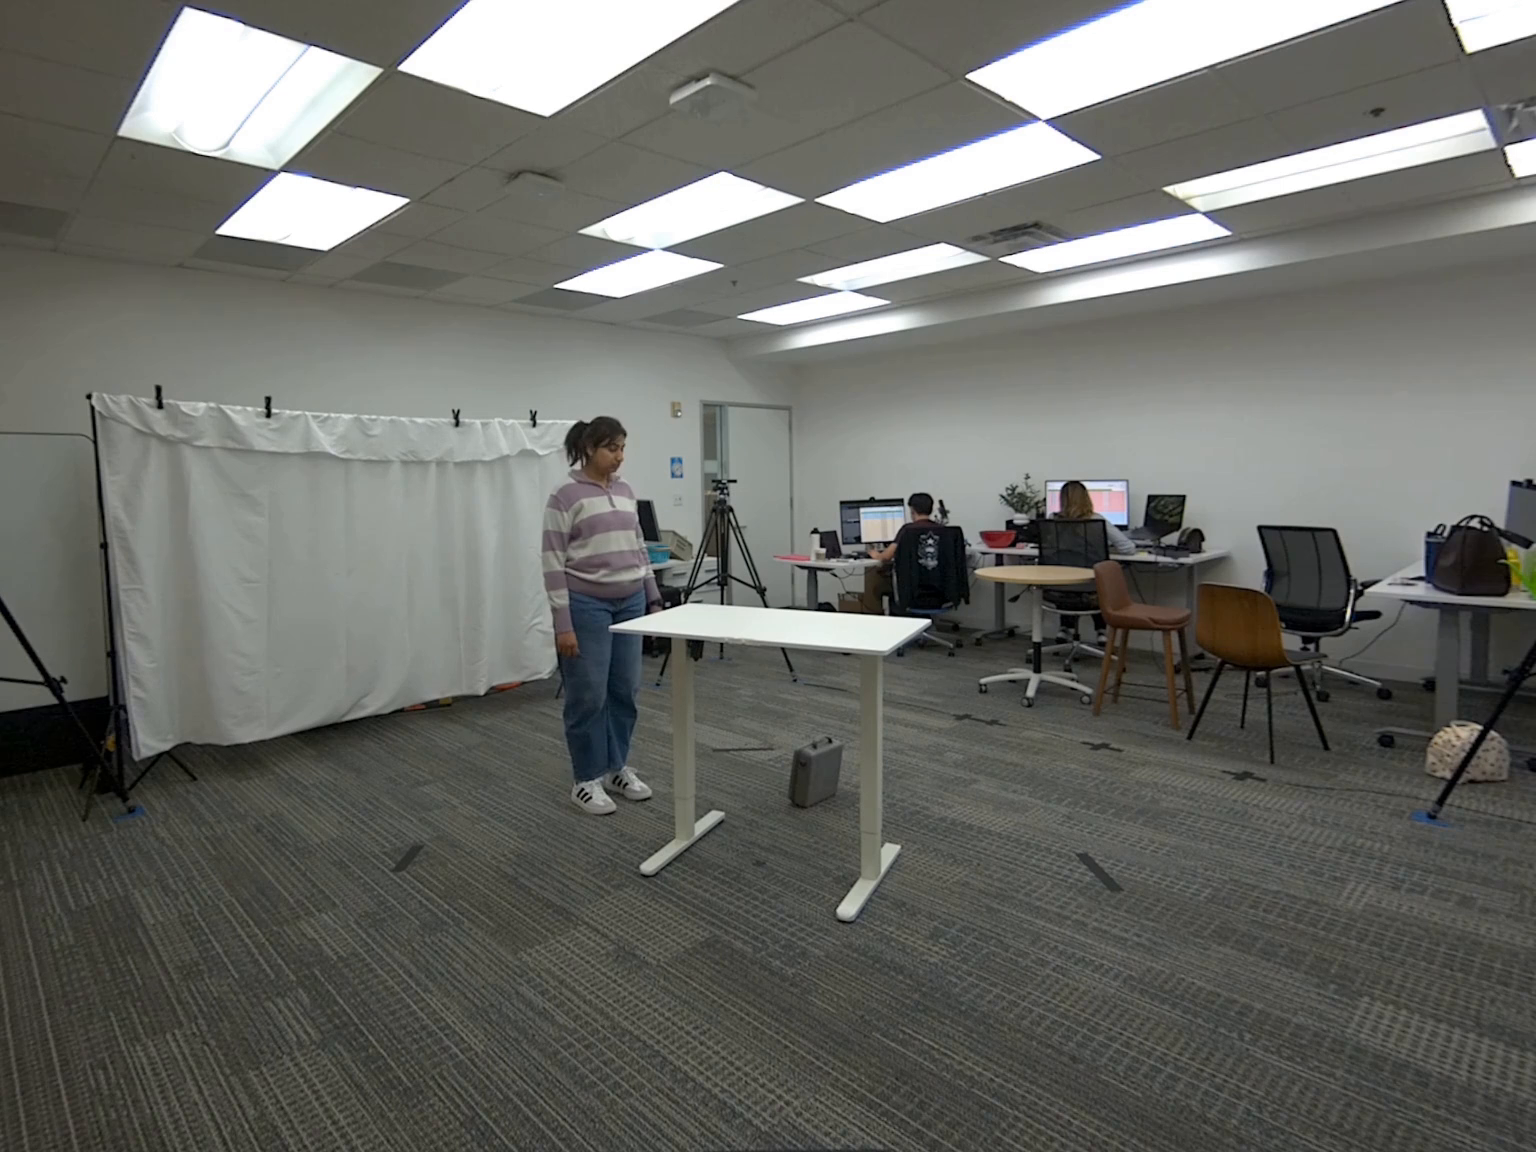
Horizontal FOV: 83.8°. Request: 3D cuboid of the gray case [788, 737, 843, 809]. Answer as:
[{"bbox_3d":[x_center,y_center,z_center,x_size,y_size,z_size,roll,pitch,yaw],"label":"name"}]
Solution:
[{"bbox_3d":[0.214,0.845,3.715,0.108,0.258,0.250,15,13,40],"label":"gray case"}]
